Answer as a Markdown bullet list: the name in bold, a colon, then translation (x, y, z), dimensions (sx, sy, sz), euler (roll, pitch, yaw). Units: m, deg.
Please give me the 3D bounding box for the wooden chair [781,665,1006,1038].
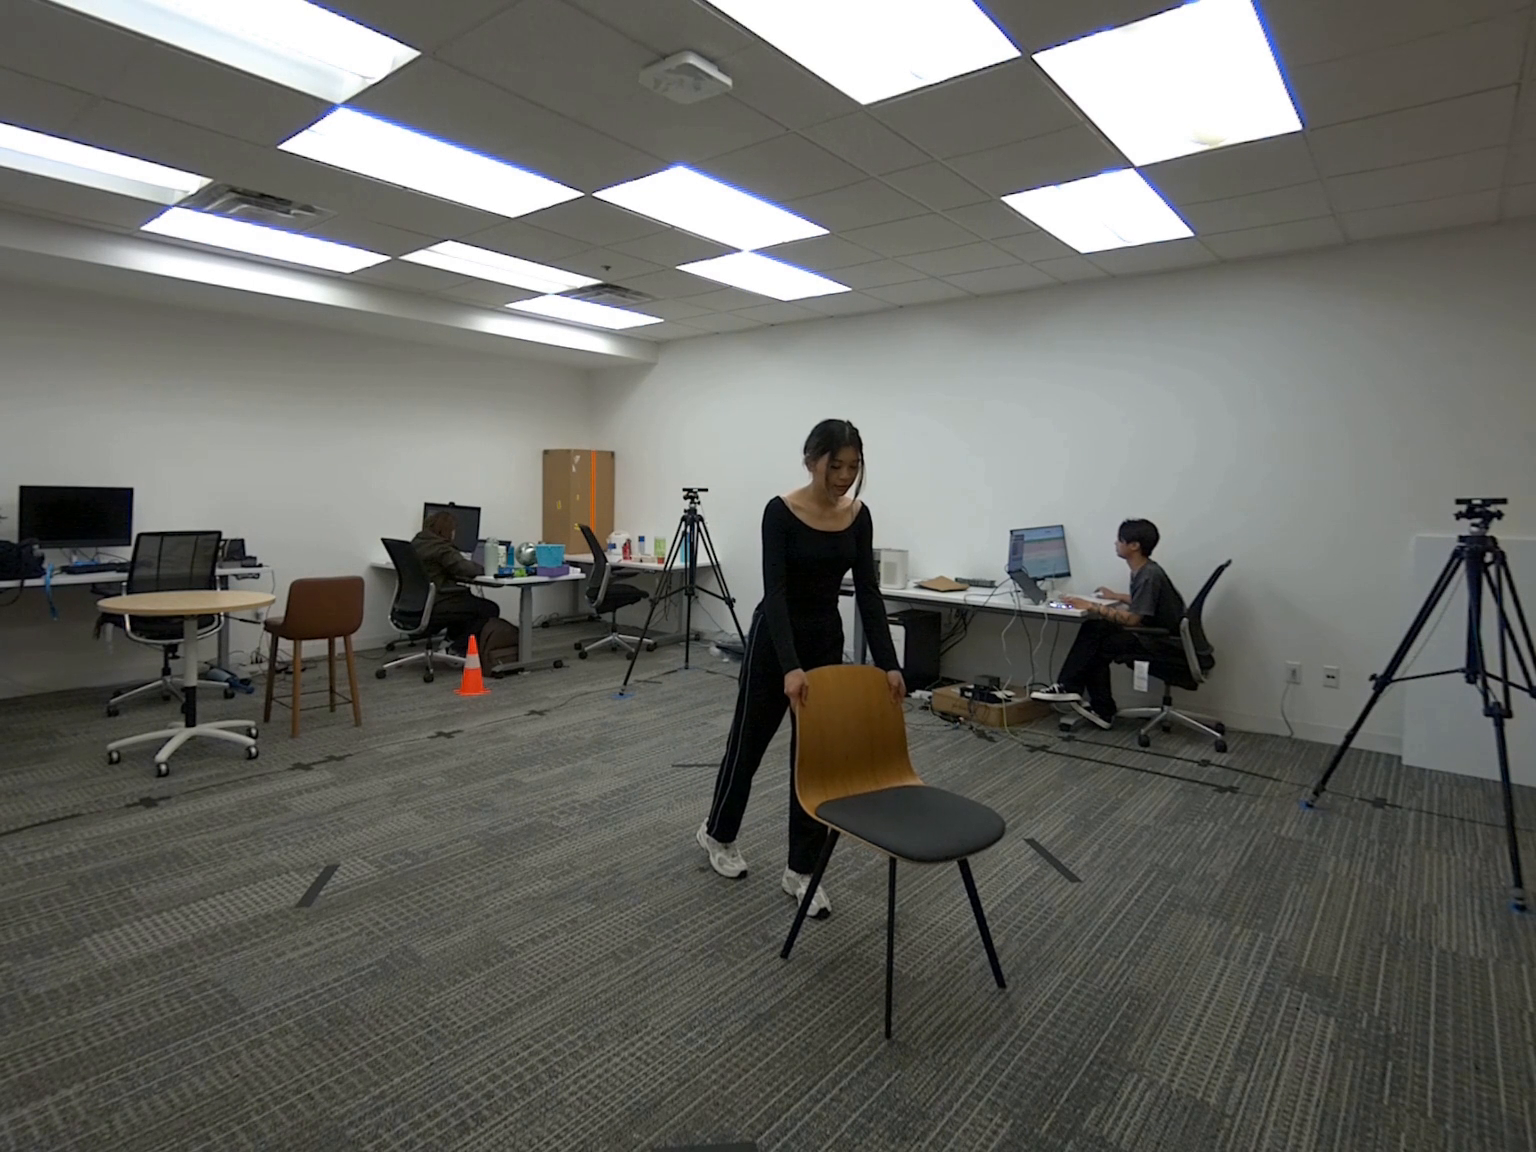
- **wooden chair**: translation (0.358, 0.717, 2.429), dimensions (0.464, 0.879, 0.538), euler (-1, -1, -34)
